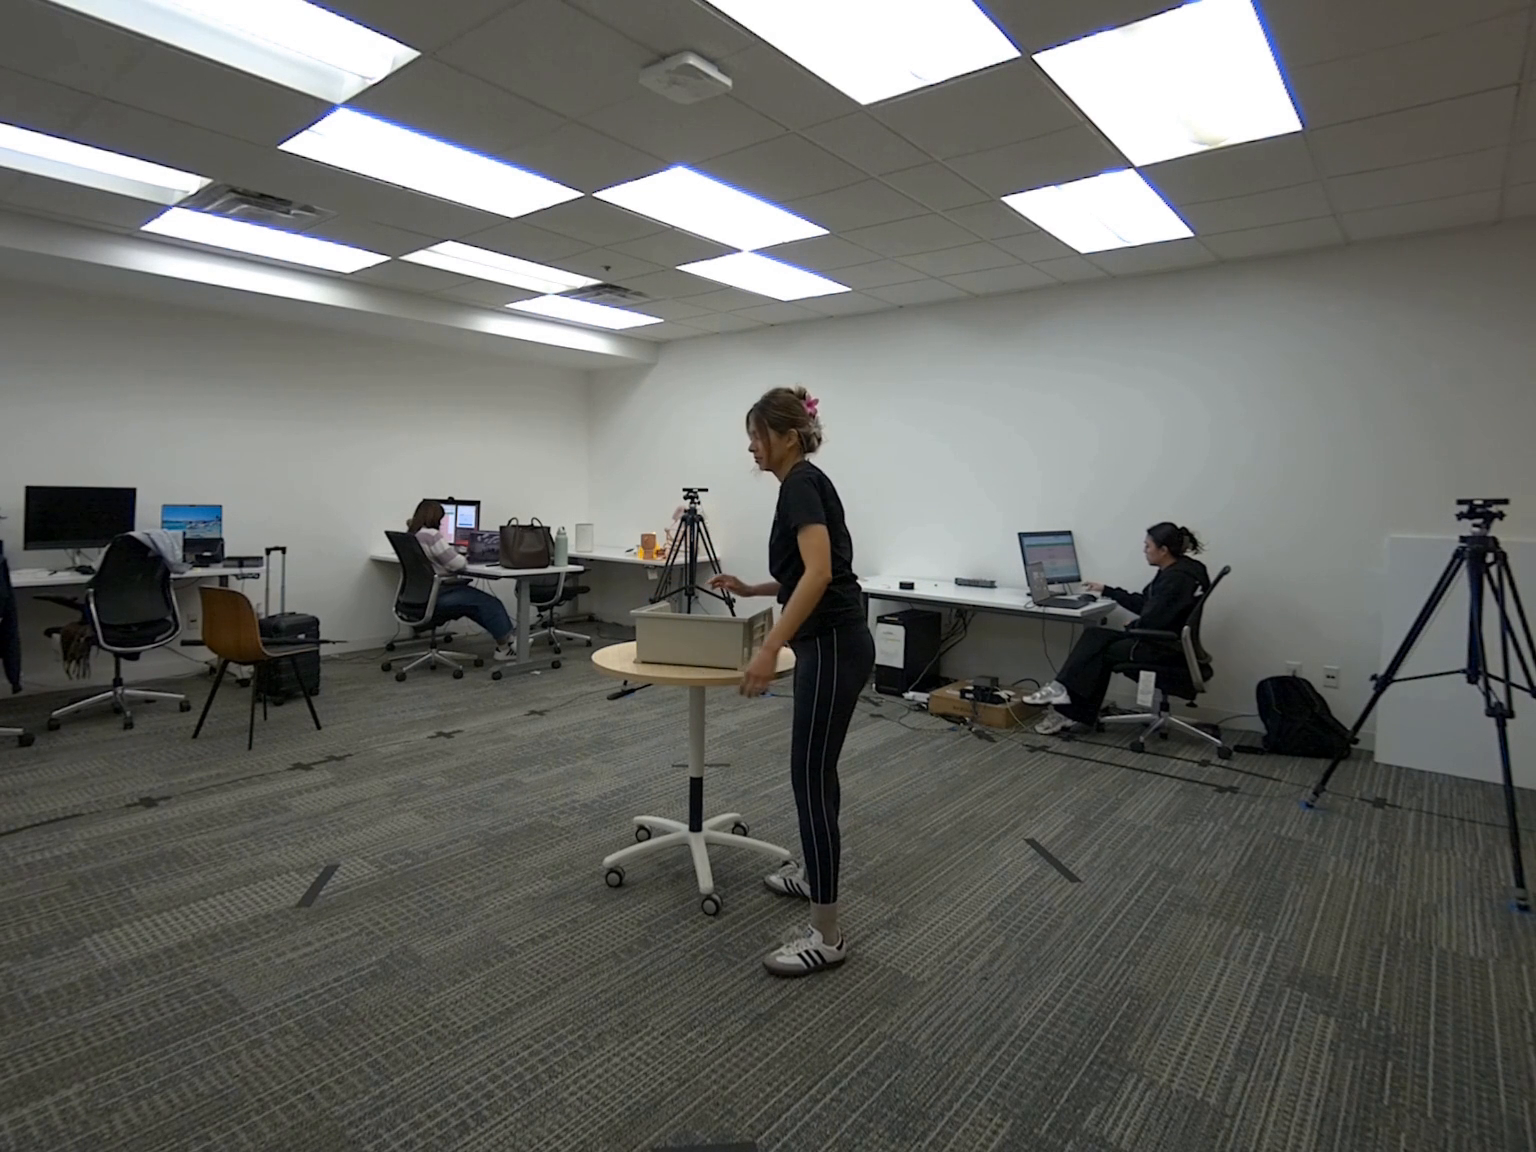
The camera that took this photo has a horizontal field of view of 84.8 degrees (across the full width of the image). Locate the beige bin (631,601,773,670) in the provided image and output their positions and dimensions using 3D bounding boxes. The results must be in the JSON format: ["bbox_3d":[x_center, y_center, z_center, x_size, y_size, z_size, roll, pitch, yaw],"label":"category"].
[{"bbox_3d":[-0.238,0.203,3.041,0.429,0.188,0.373,2,6,15],"label":"beige bin"}]
